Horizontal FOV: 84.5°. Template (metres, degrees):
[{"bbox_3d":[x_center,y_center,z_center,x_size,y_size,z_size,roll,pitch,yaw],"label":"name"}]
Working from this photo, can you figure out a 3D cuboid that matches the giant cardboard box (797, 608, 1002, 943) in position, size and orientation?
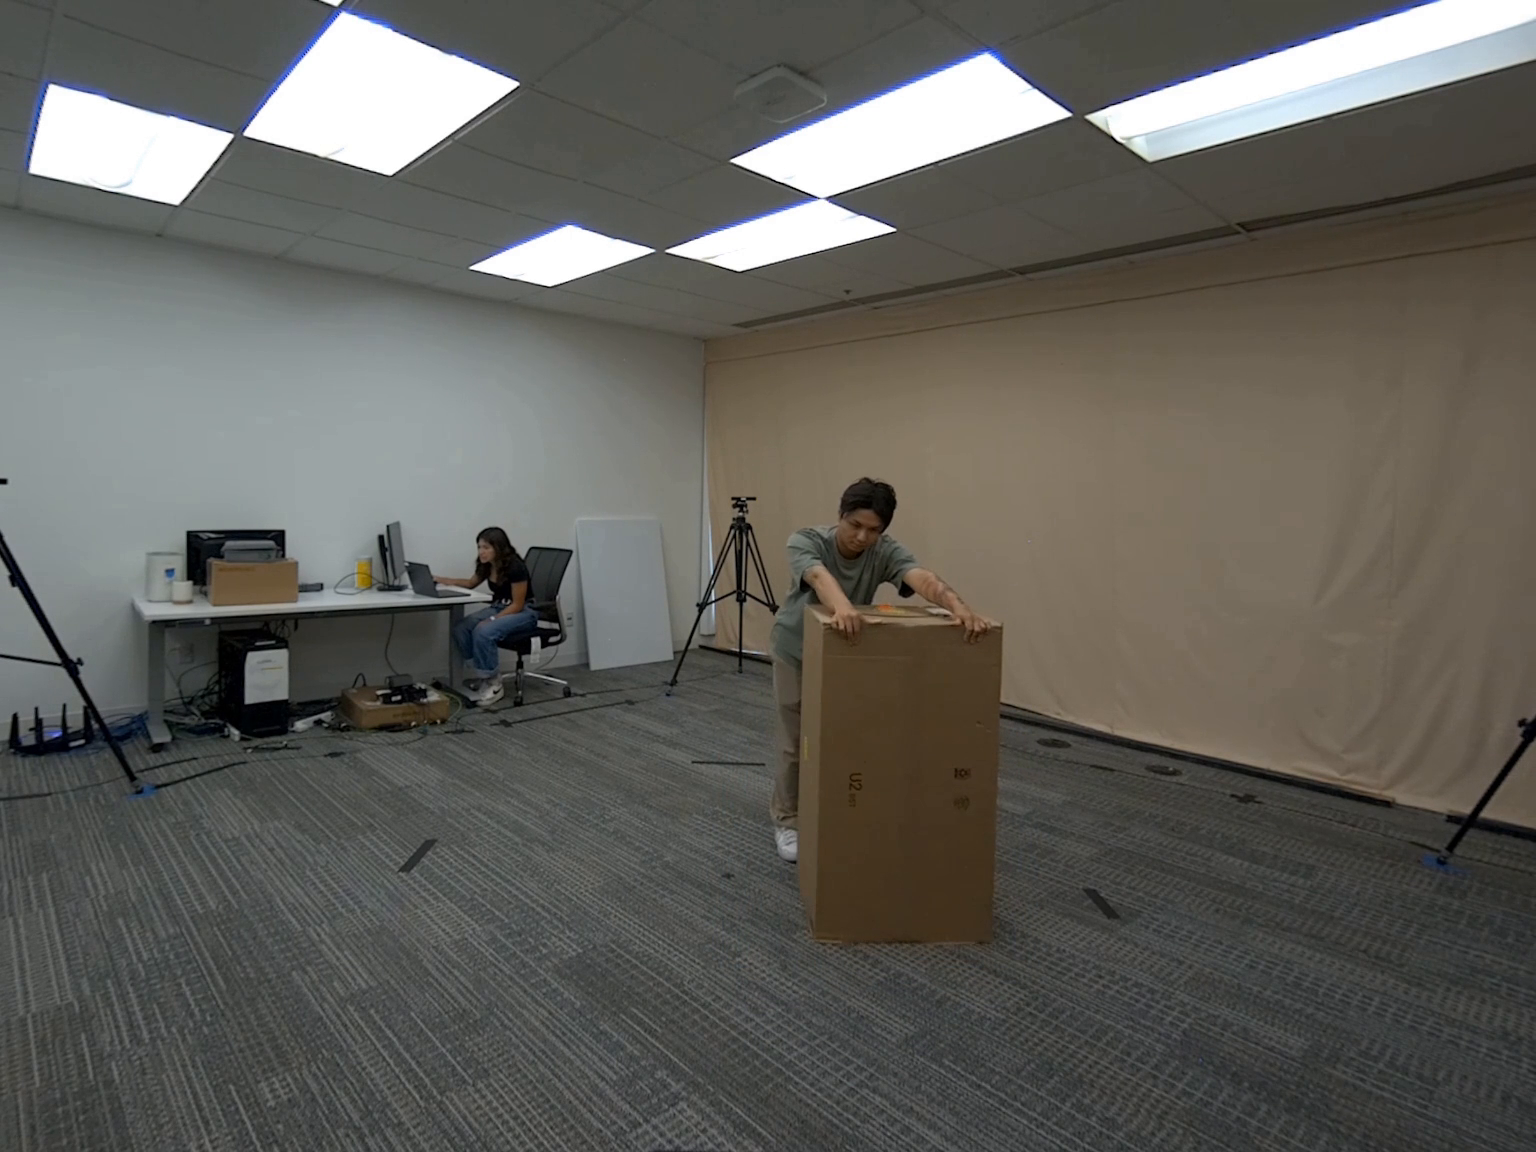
[{"bbox_3d":[0.424,0.630,2.843,0.576,1.023,0.429,1,4,-4],"label":"giant cardboard box"}]
